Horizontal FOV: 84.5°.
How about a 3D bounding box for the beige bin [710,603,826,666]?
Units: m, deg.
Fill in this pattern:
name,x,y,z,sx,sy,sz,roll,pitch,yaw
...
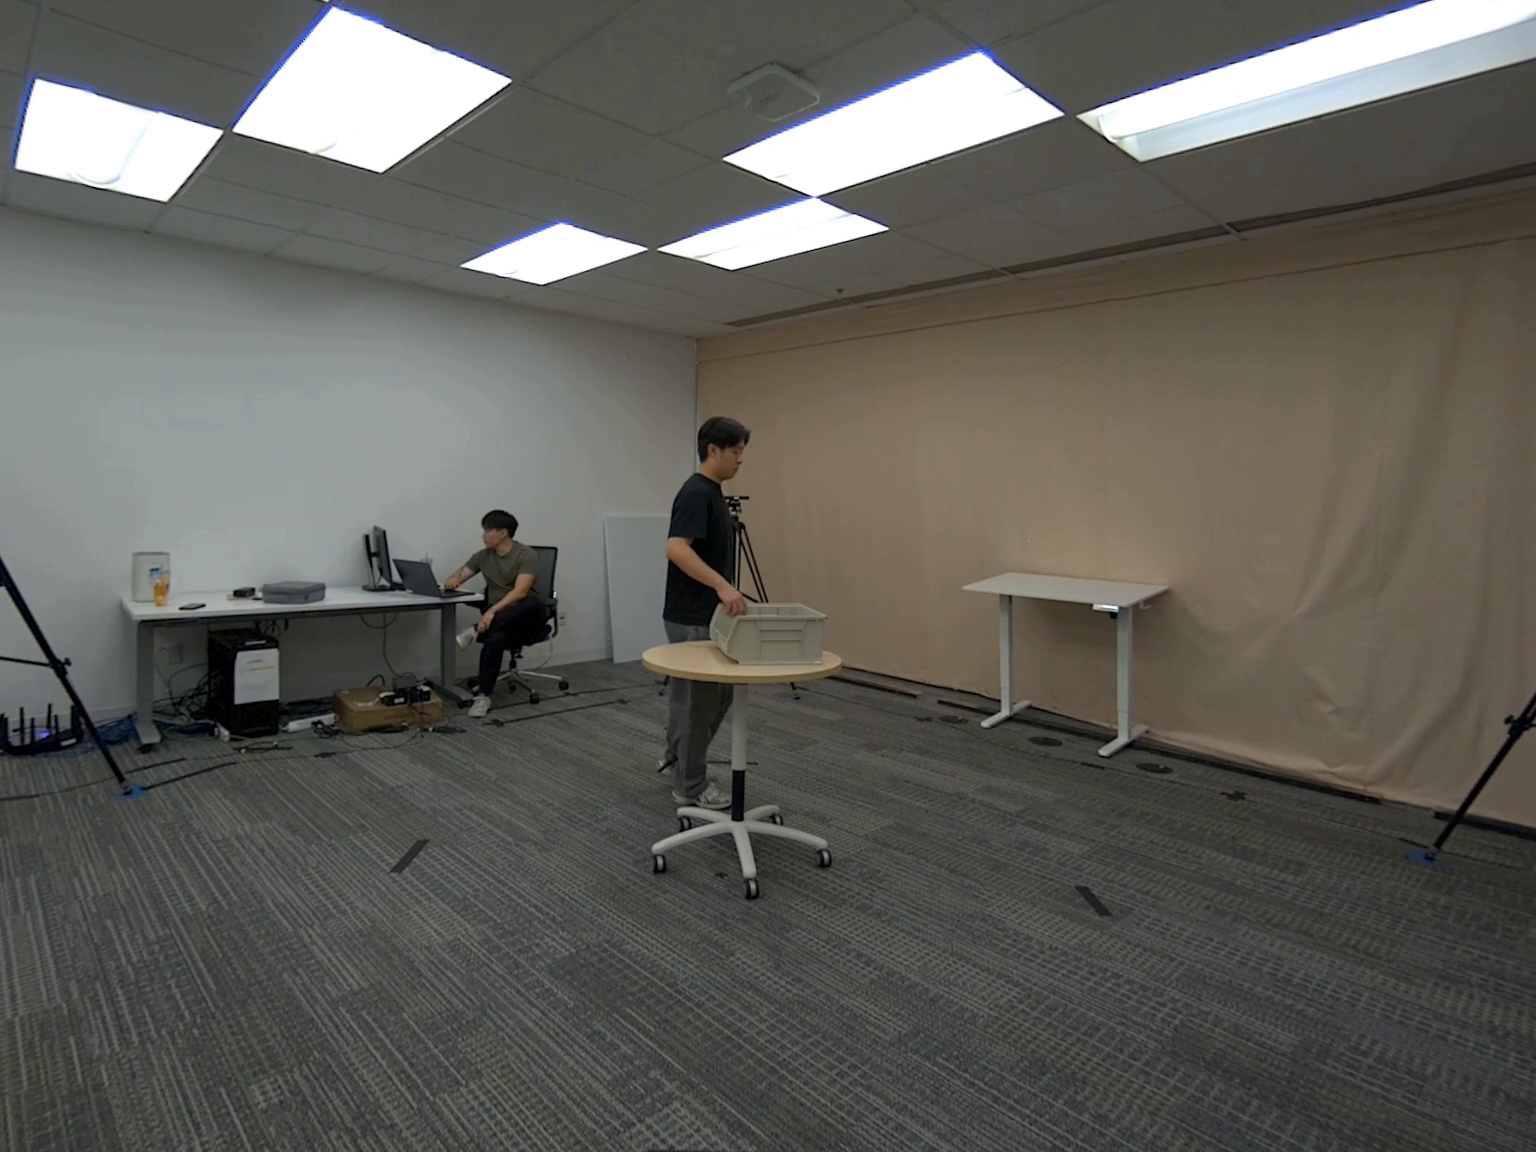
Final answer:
name,x,y,z,sx,sy,sz,roll,pitch,yaw
beige bin,-0.015,0.222,3.277,0.374,0.188,0.427,1,4,-11
